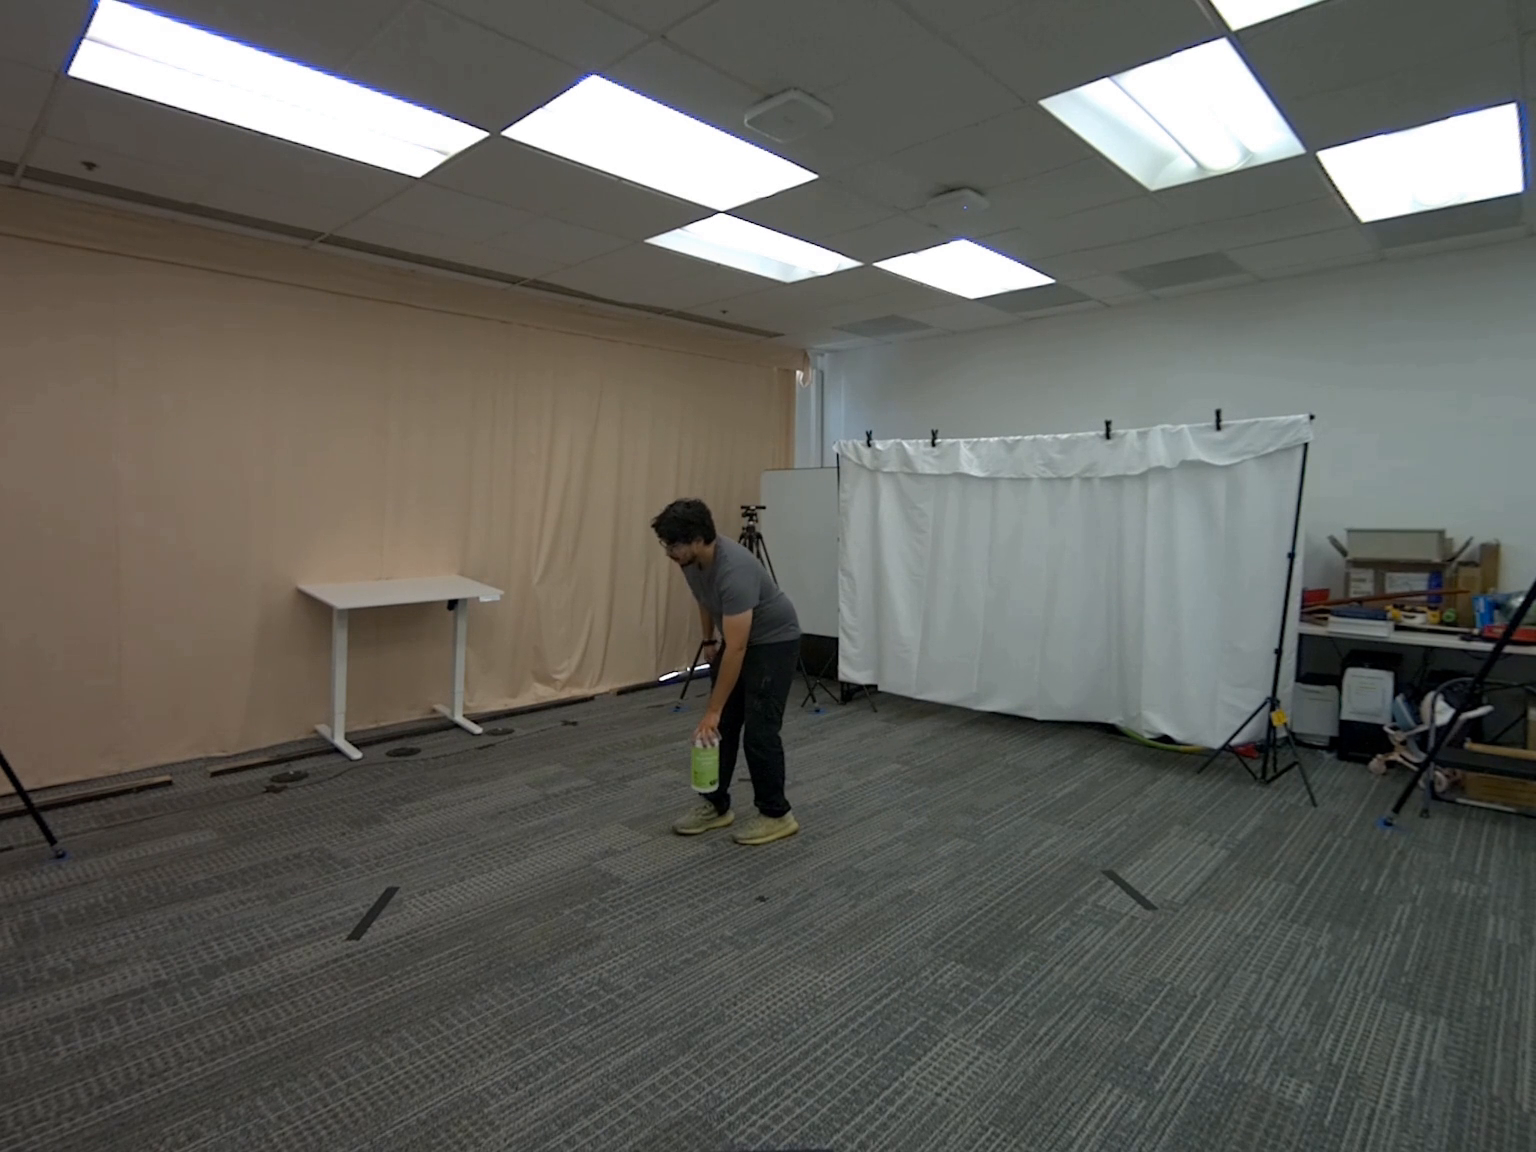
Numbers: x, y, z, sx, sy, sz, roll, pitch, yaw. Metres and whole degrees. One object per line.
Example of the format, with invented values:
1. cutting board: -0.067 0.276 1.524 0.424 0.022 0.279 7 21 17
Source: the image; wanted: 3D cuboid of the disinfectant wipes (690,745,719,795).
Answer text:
1. disinfectant wipes: -0.247 0.721 3.279 0.117 0.216 0.119 4 11 -3
